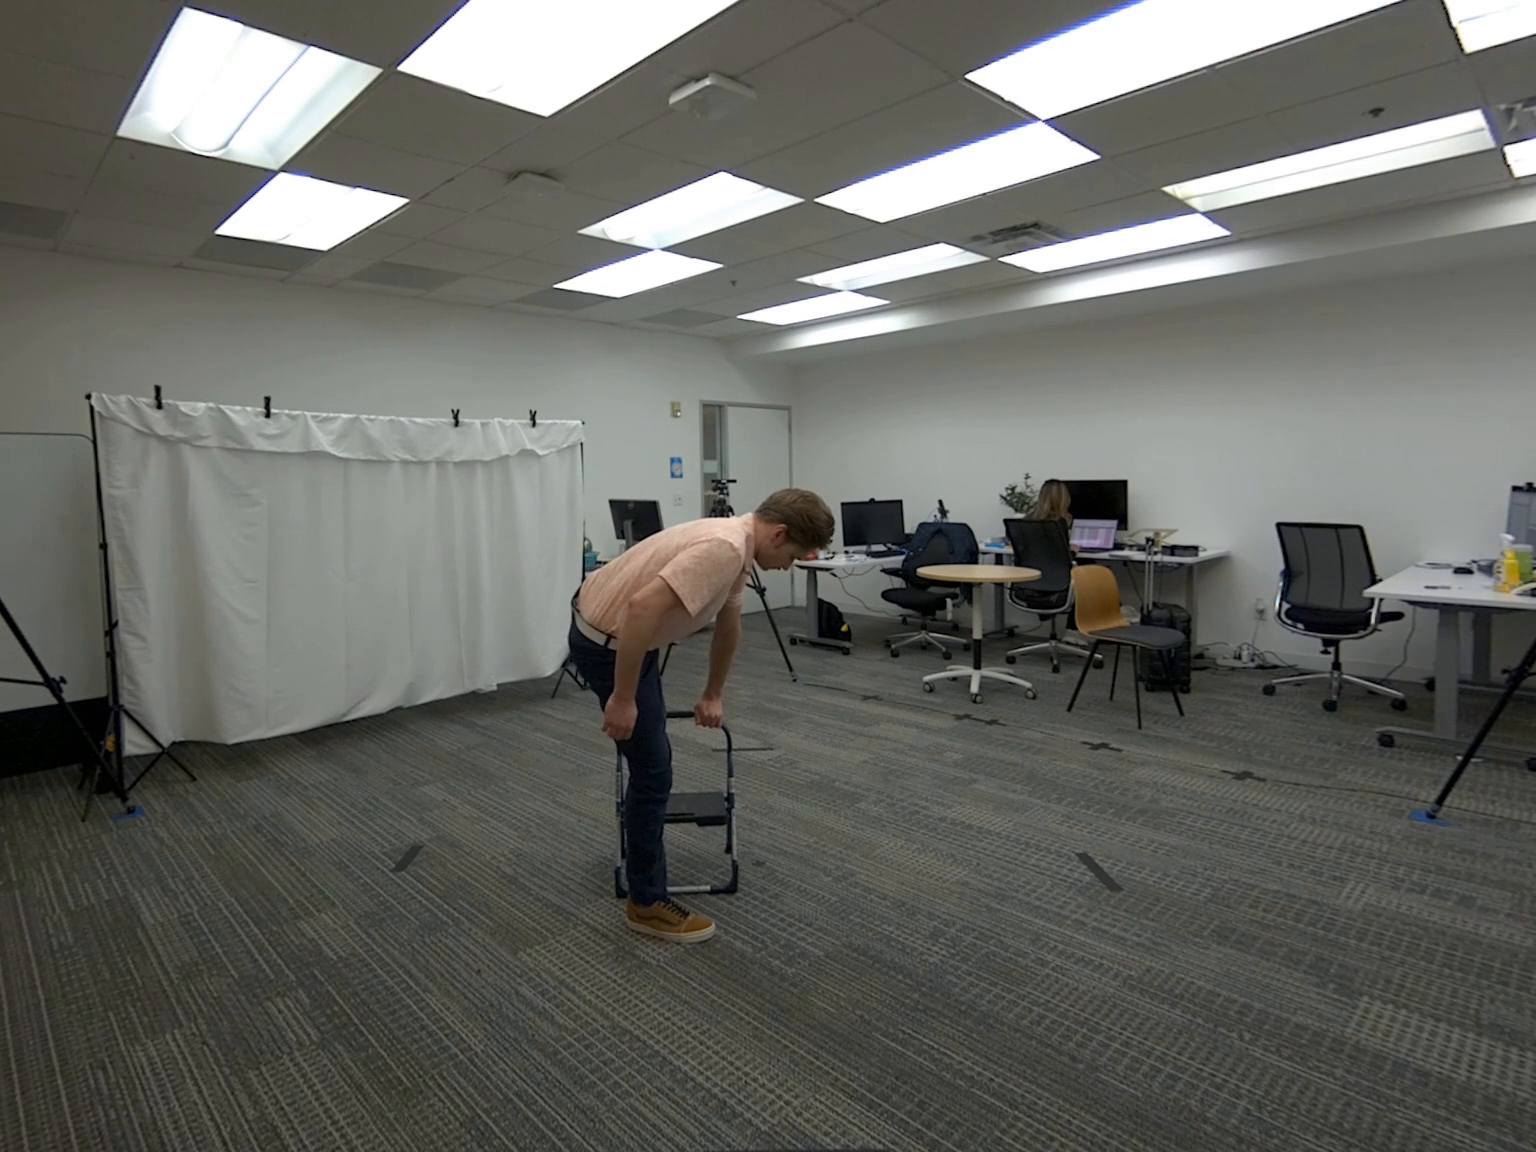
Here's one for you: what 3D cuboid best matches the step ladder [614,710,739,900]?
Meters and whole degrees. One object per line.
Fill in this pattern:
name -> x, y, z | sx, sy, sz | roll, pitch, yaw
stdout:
step ladder -> -0.329, 0.767, 3.030 | 0.428, 0.605, 0.352 | -2, 2, -6
